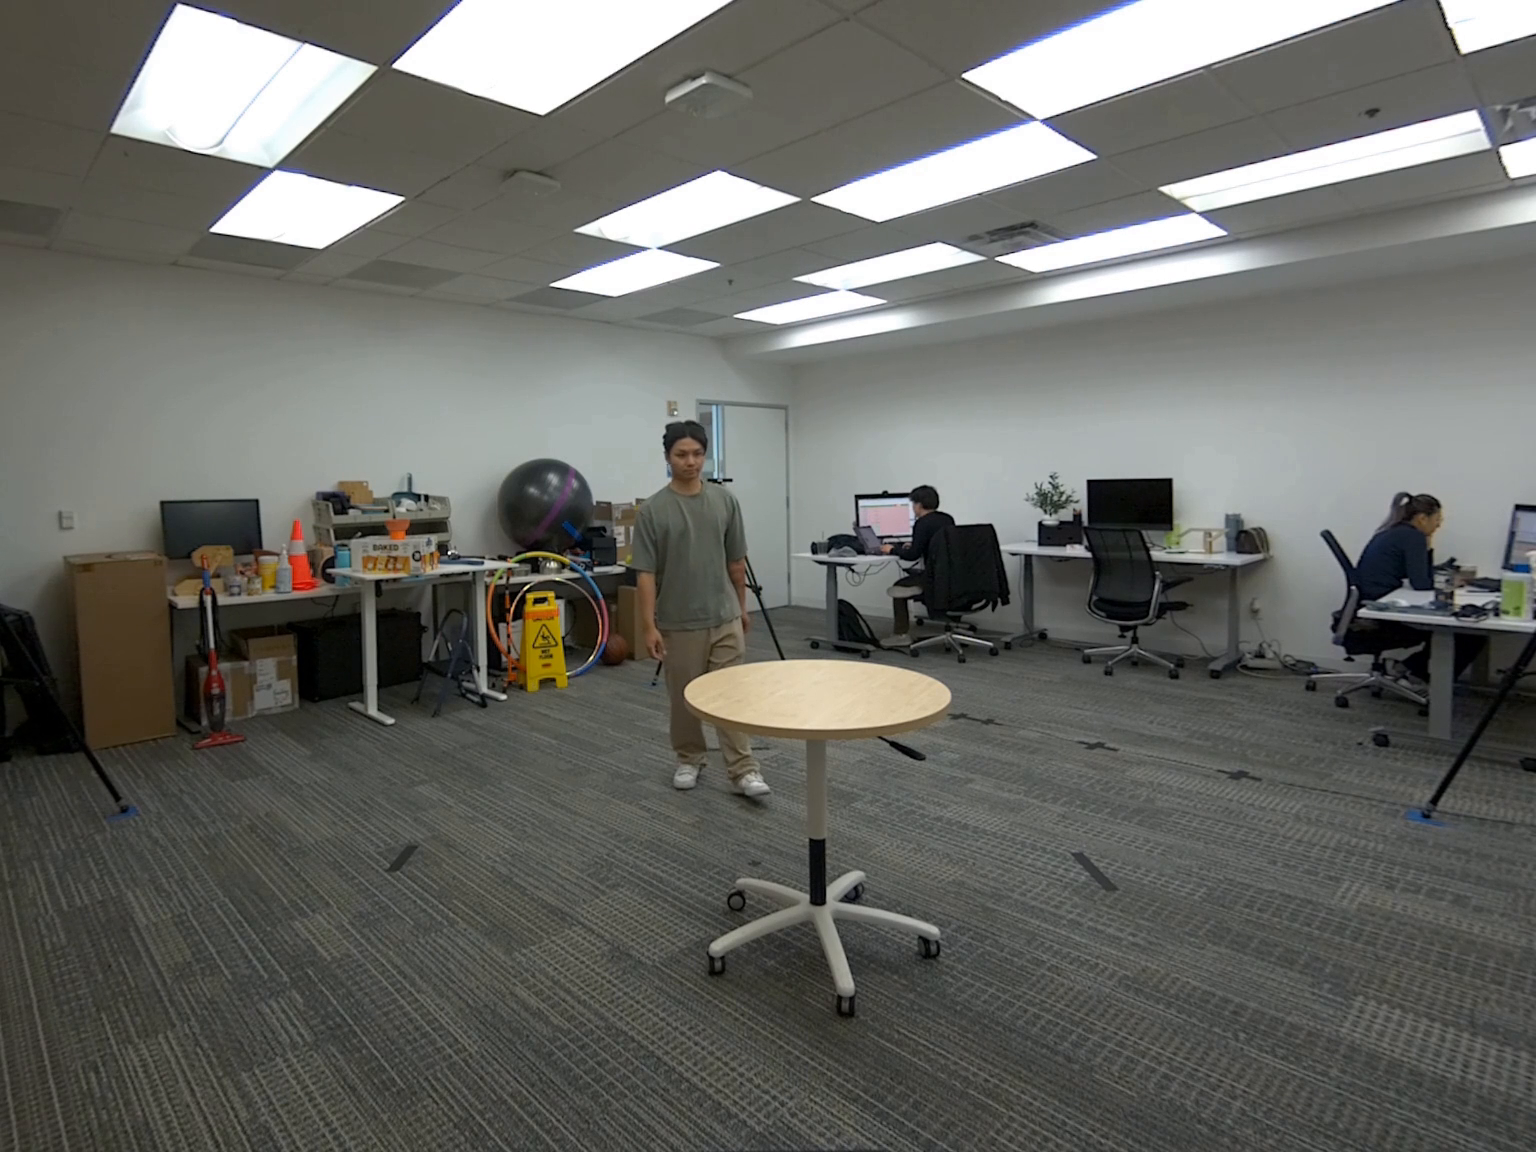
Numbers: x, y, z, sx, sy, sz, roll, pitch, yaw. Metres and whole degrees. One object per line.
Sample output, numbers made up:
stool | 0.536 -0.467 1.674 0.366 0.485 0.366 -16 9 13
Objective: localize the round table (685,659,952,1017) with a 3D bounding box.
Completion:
round table | 0.161 0.715 2.516 0.784 0.783 0.789 -1 5 -2
